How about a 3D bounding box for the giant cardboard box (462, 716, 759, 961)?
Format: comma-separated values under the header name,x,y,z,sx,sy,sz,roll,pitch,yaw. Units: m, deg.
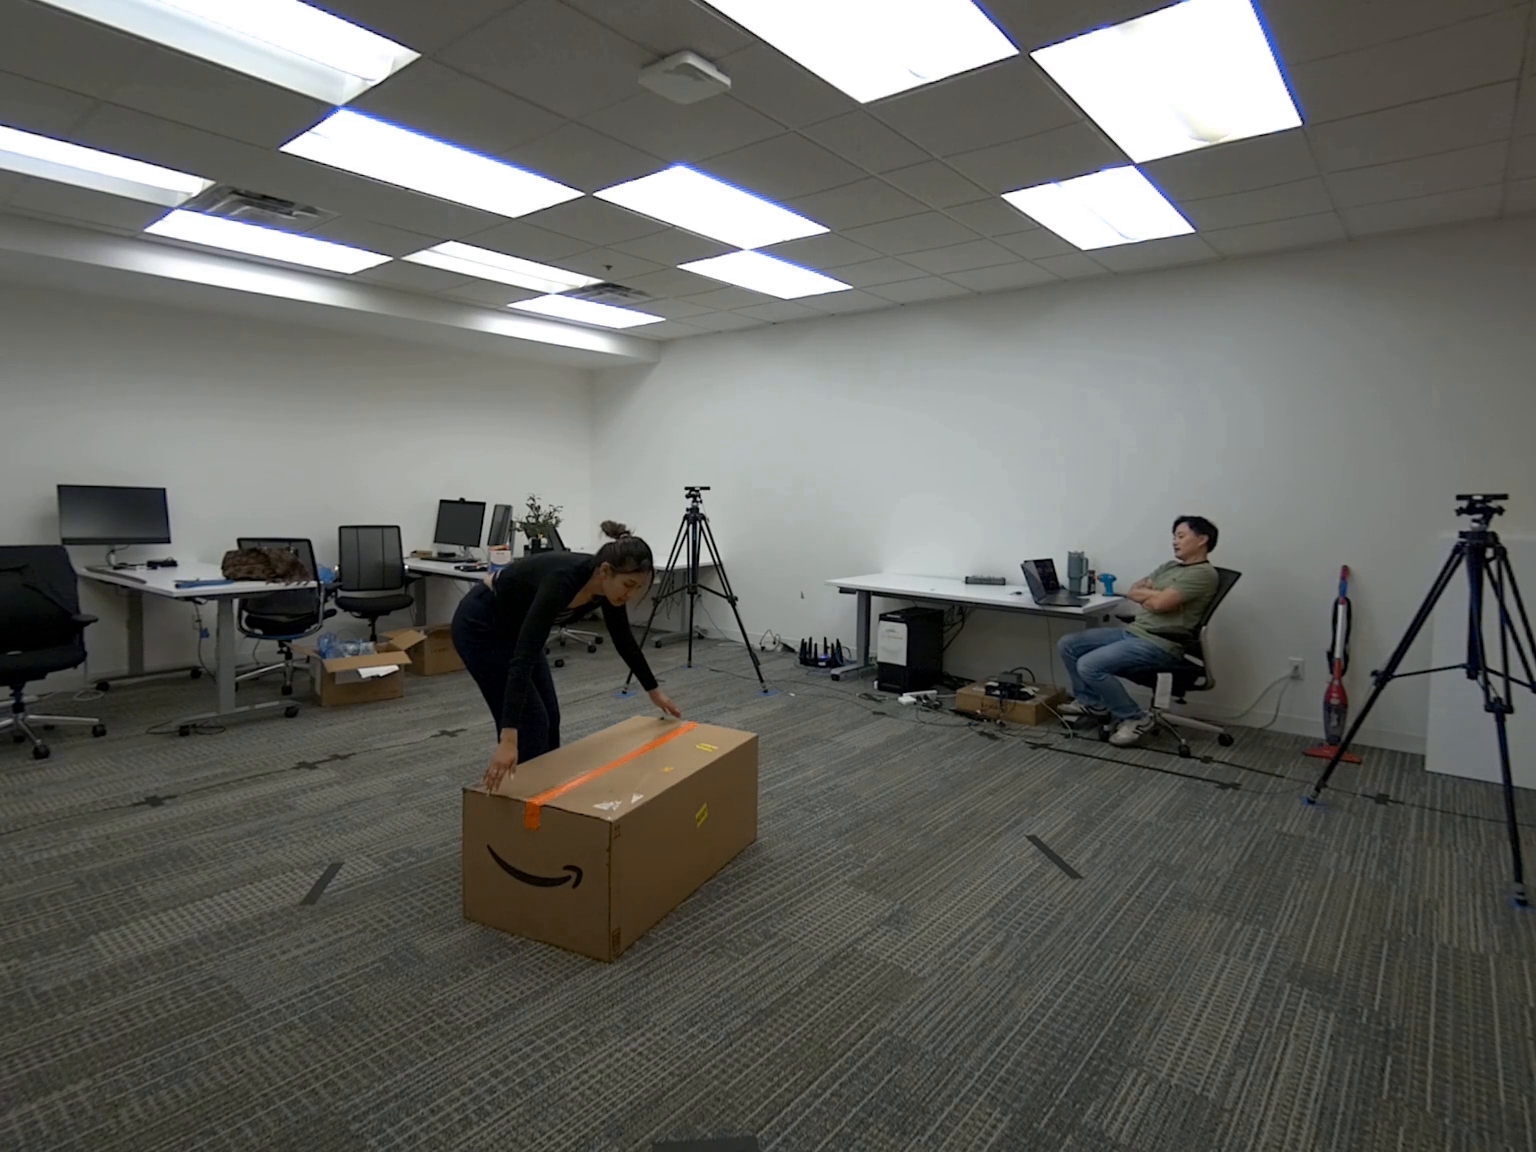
name,x,y,z,sx,sy,sz,roll,pitch,yaw
giant cardboard box,-0.514,0.856,3.037,0.592,0.425,1.003,2,5,25
